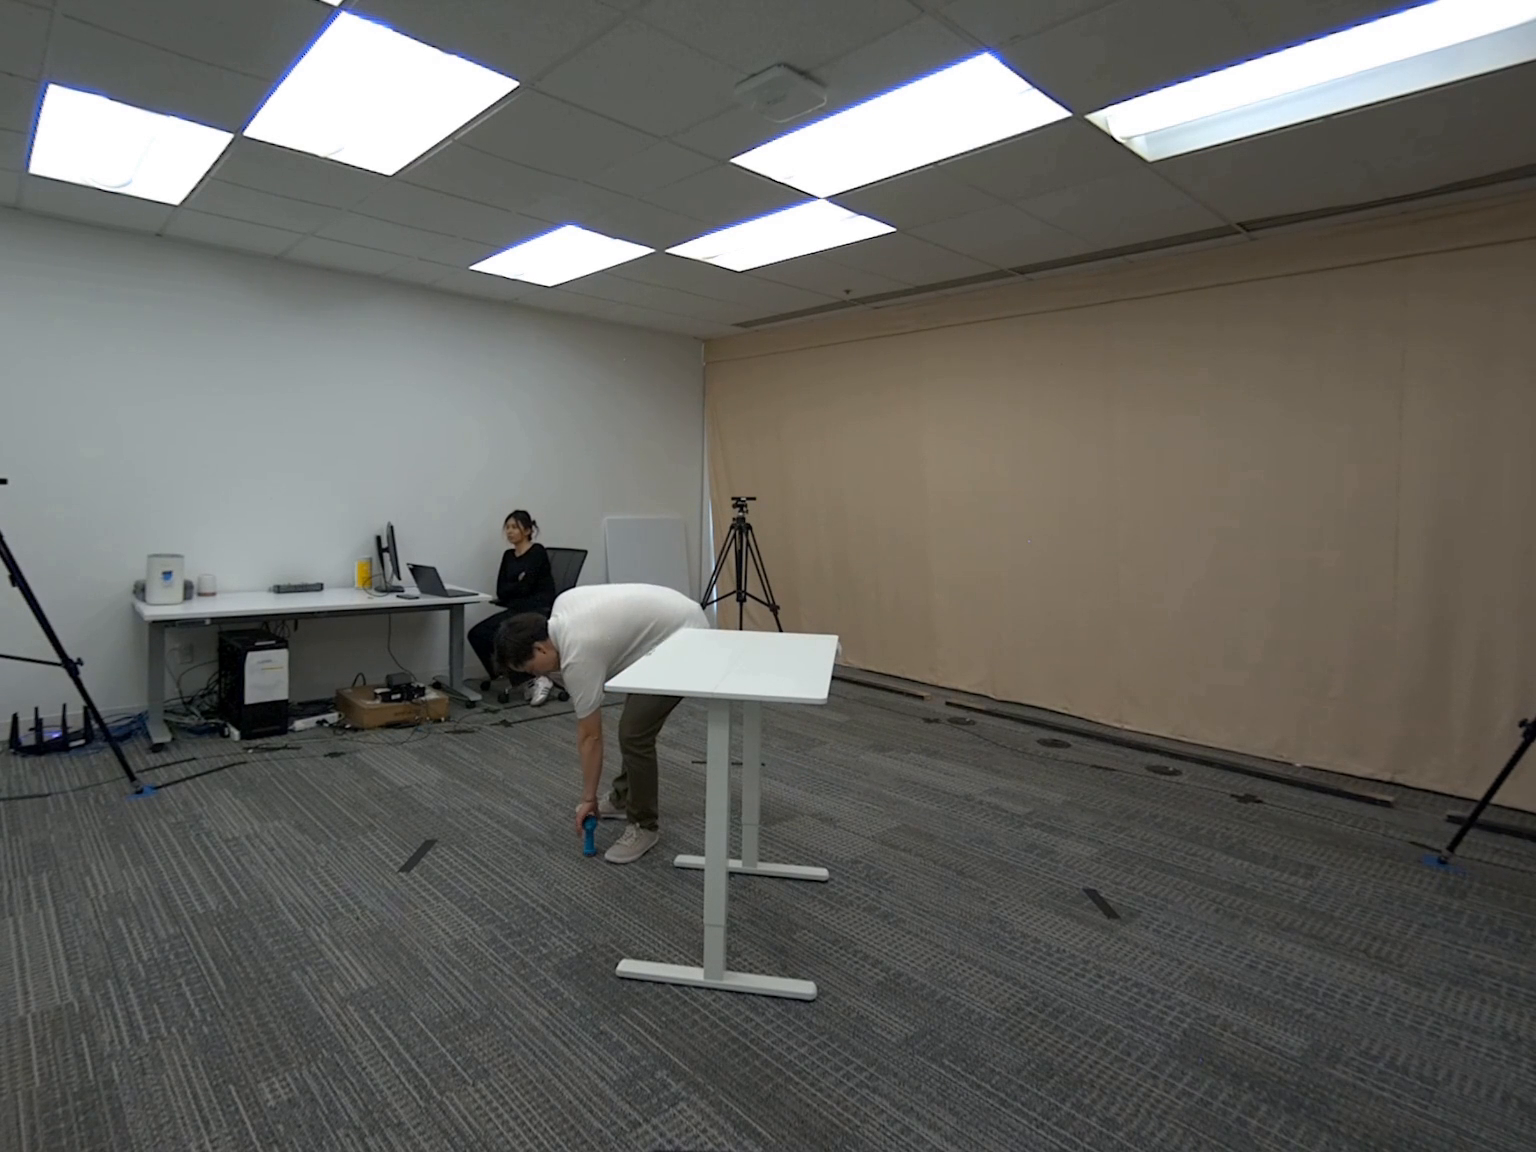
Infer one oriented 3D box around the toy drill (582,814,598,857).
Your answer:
[{"bbox_3d":[-0.714,1.007,3.309,0.061,0.146,0.170,2,2,-6],"label":"toy drill"}]
